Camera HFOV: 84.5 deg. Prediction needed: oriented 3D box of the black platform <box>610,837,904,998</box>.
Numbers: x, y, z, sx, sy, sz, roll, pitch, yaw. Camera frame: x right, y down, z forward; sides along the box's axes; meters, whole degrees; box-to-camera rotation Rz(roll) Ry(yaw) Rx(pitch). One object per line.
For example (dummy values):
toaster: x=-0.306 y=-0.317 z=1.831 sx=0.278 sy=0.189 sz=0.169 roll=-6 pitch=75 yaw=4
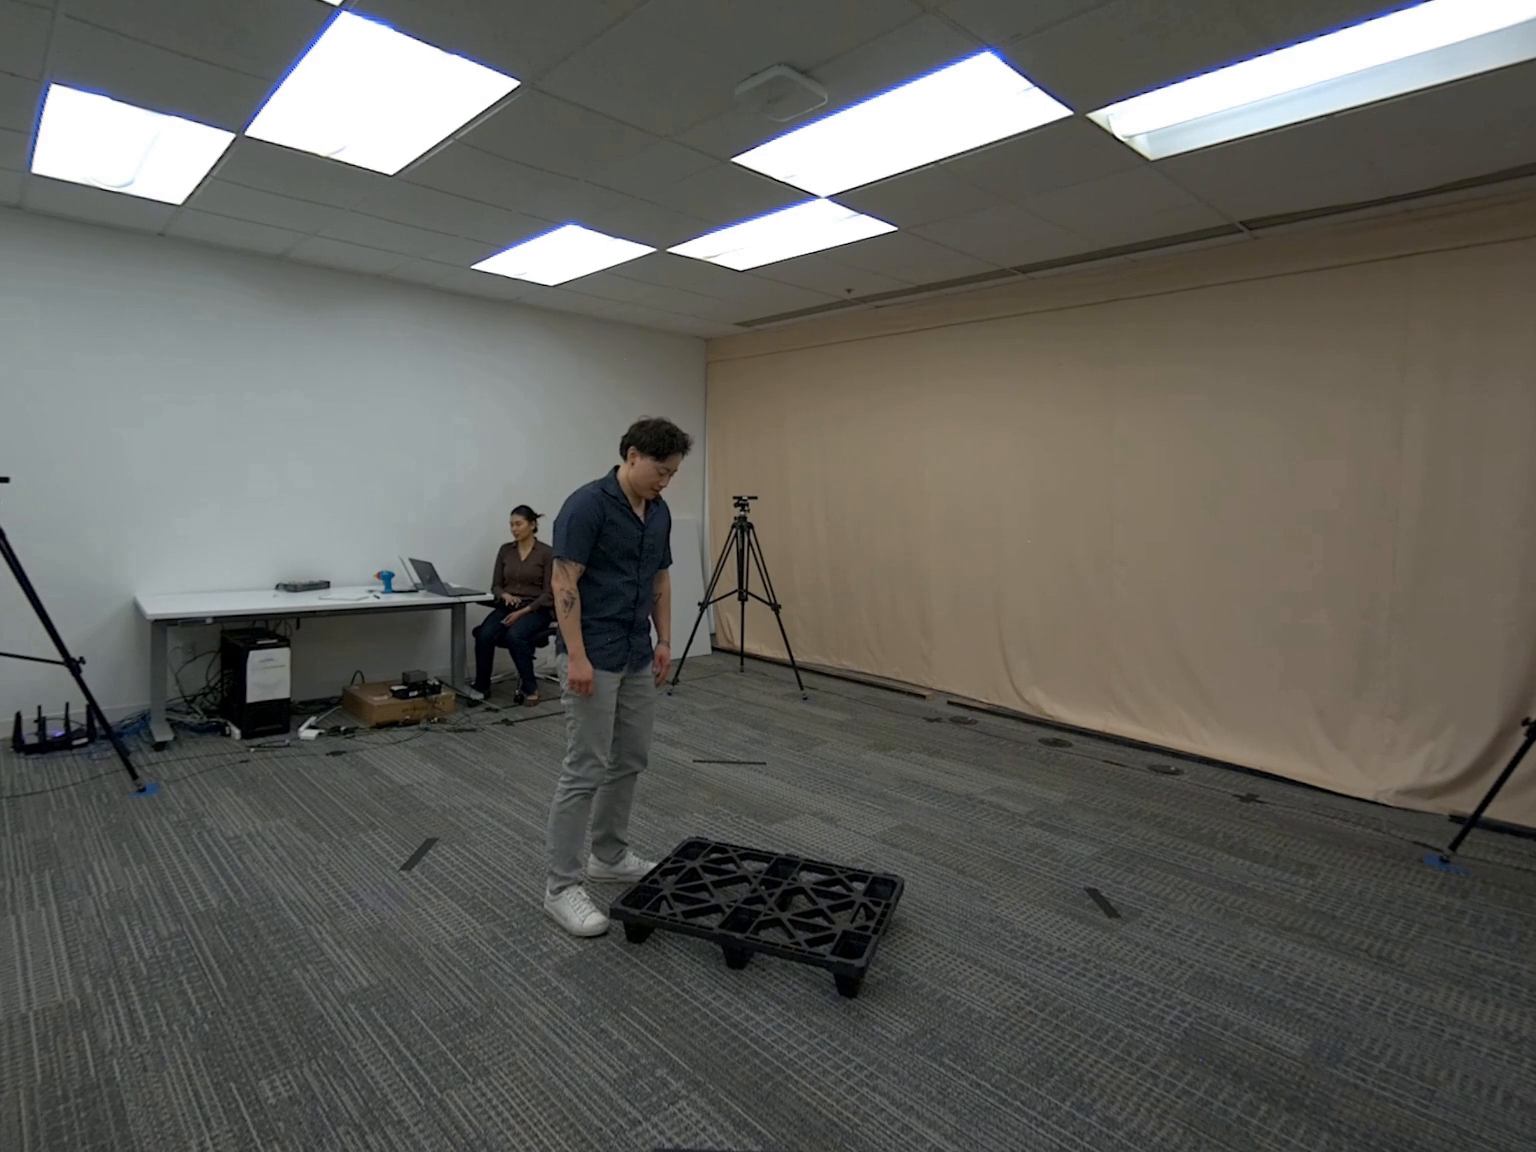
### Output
black platform: x=-0.021 y=1.077 z=2.693 sx=0.819 sy=0.143 sz=0.597 roll=3 pitch=6 yaw=21
